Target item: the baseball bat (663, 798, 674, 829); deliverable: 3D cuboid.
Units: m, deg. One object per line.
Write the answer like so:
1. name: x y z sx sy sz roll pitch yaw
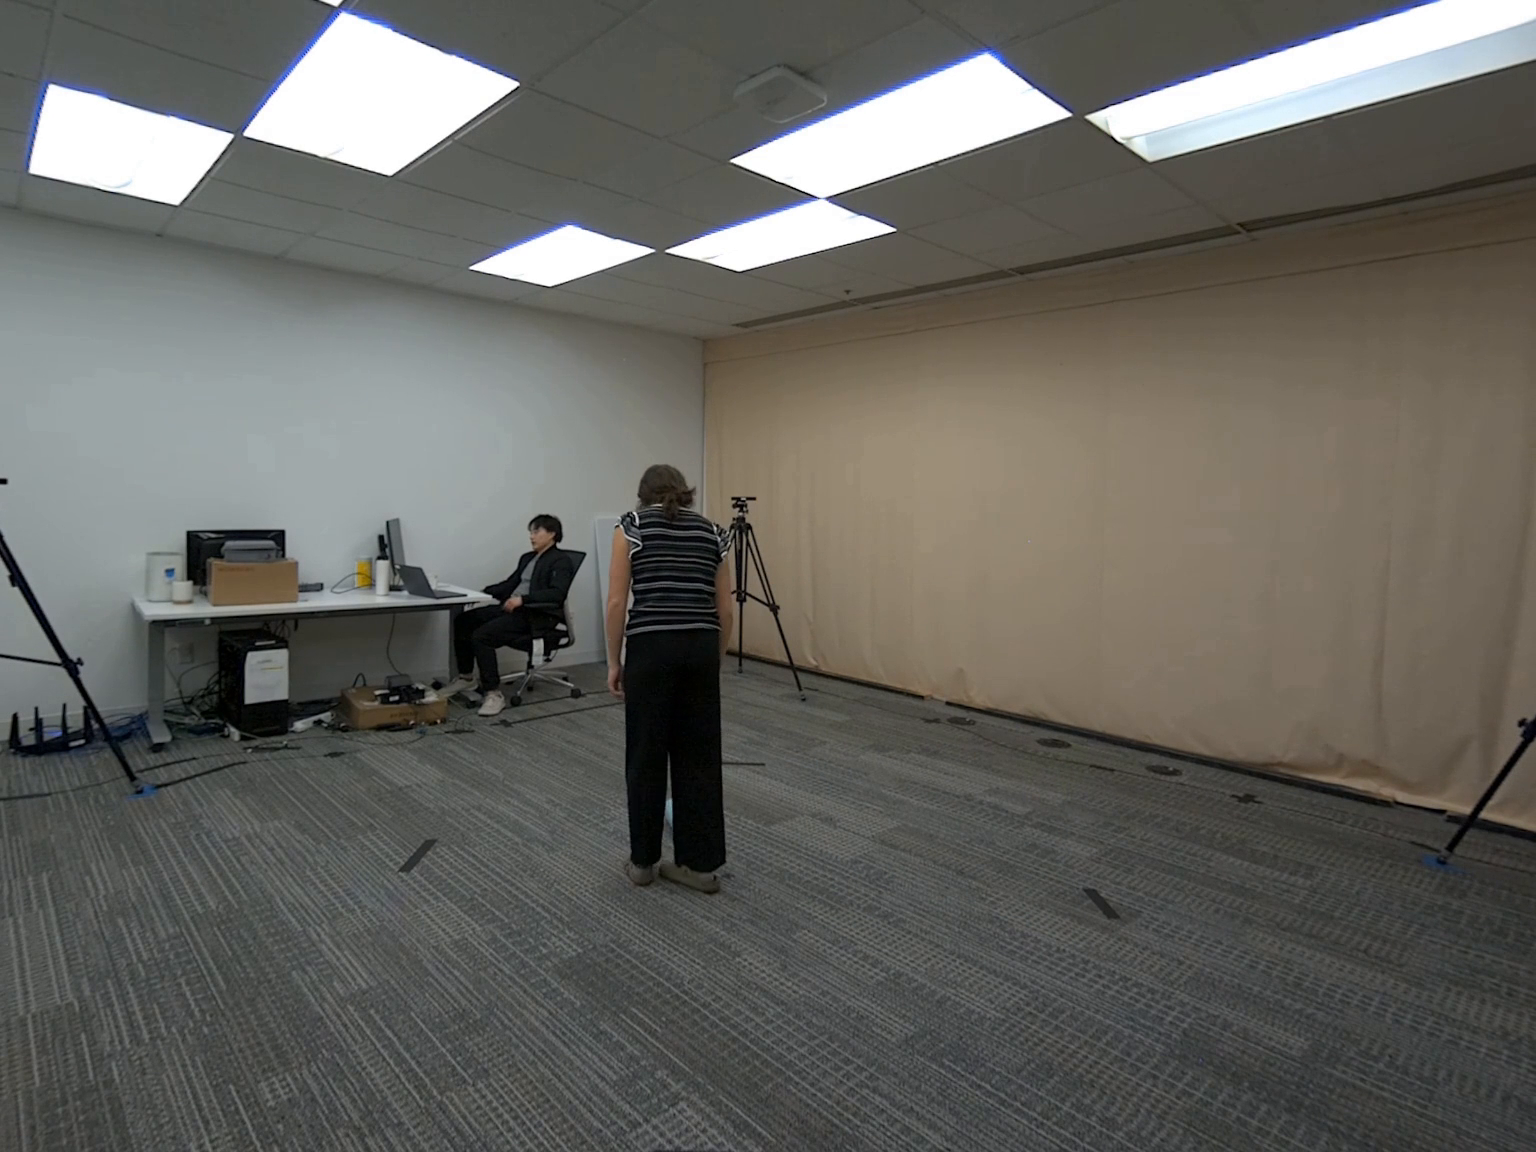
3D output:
1. baseball bat: -0.329 1.050 3.389 0.088 0.088 0.553 0 8 -19
